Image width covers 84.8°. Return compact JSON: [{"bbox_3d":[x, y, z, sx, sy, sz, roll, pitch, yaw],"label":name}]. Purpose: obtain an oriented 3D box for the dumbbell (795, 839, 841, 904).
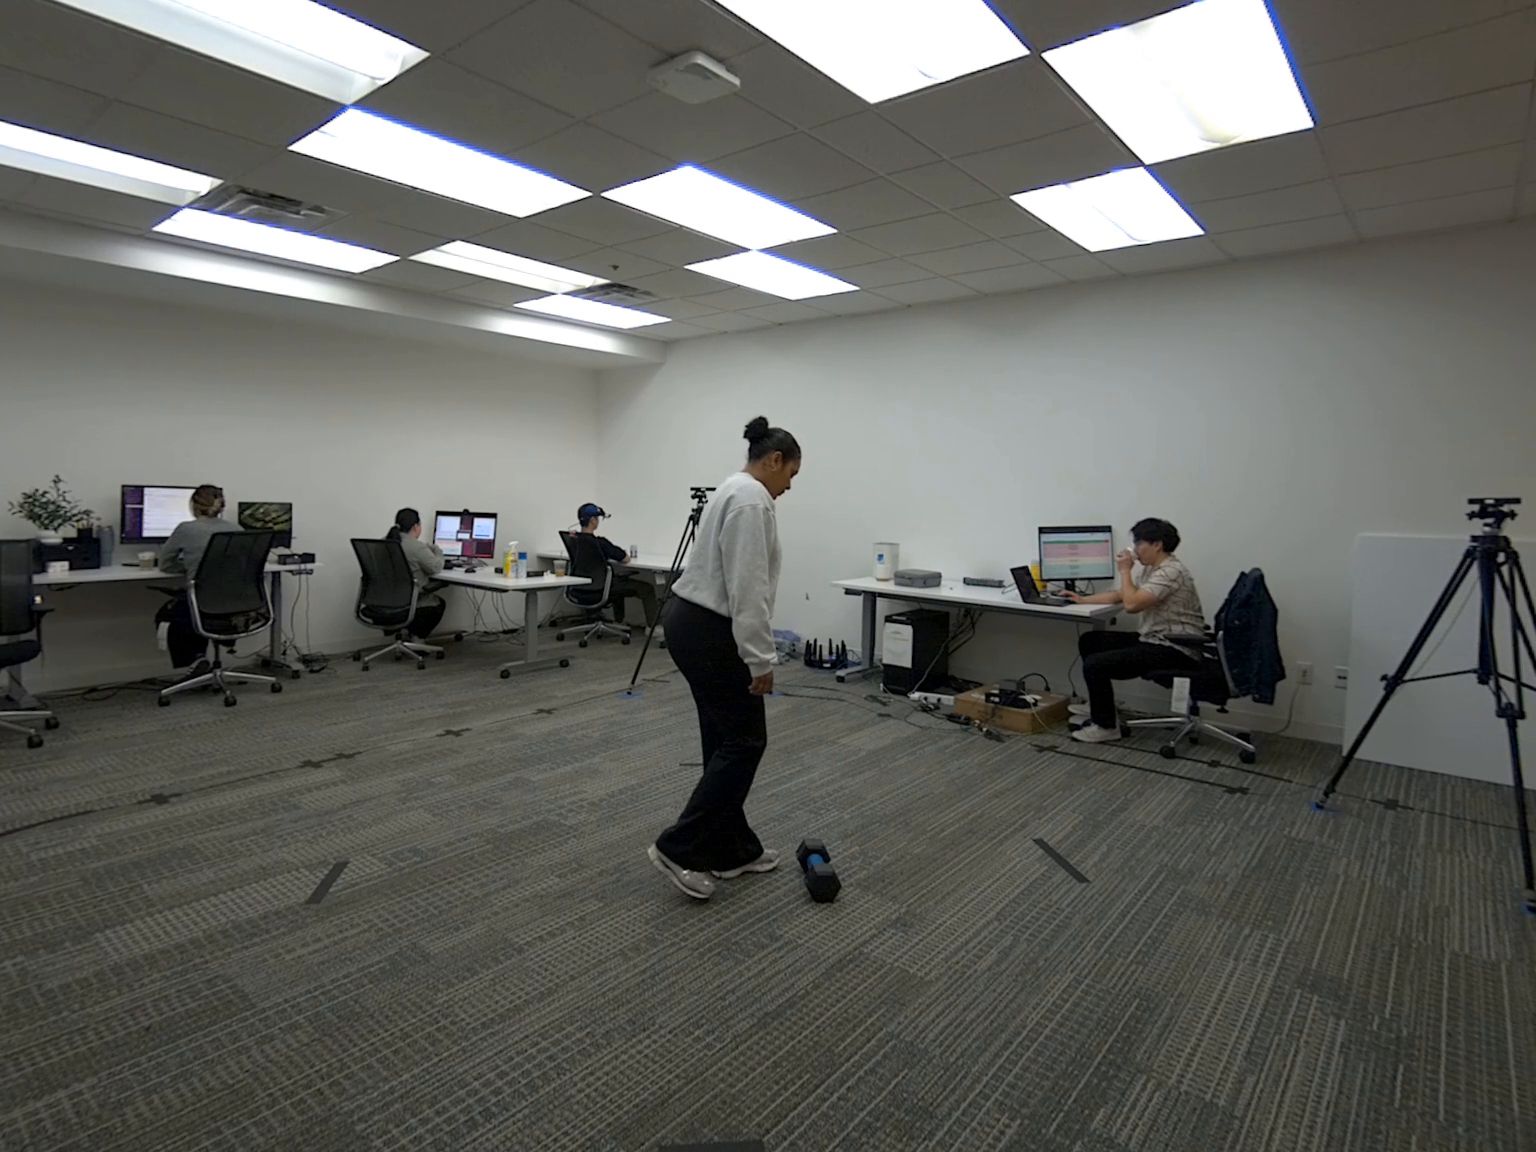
[{"bbox_3d":[0.167,1.037,2.999,0.108,0.122,0.296,-30,8,-3],"label":"dumbbell"}]
